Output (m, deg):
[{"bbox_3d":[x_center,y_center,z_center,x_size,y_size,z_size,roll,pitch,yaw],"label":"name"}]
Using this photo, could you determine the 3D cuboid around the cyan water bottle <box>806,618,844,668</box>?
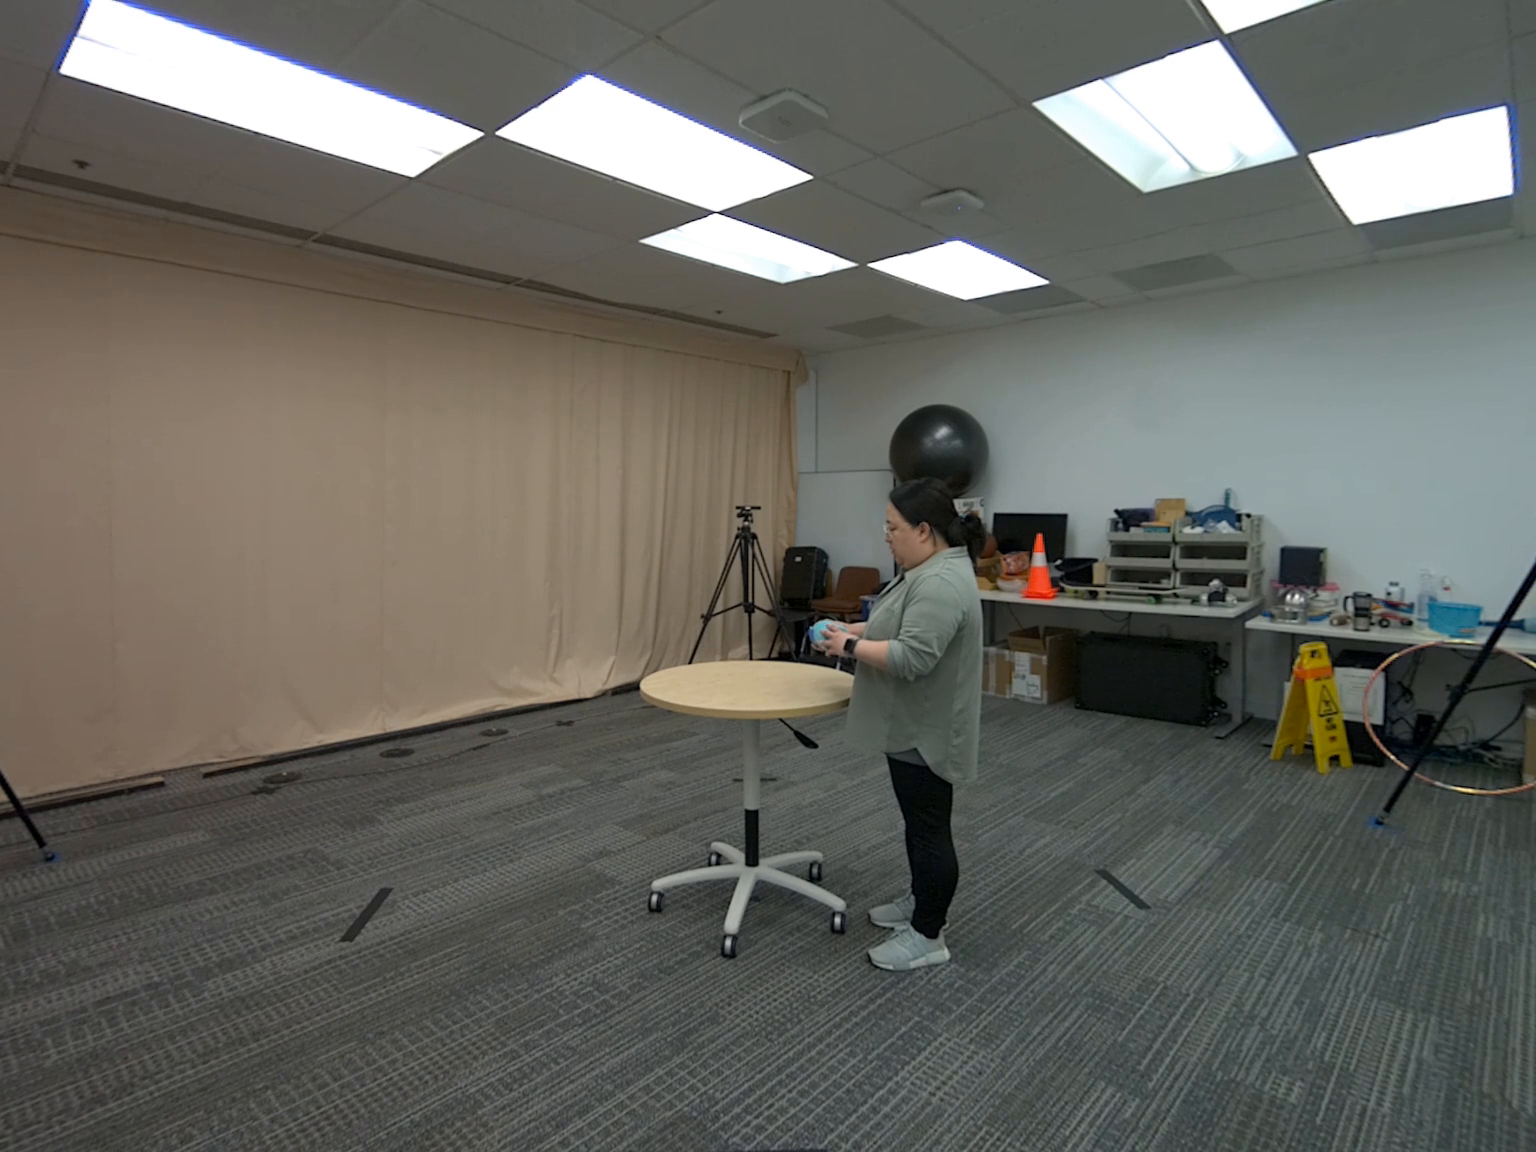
[{"bbox_3d":[0.208,0.197,2.692,0.091,0.092,0.286,-1,3,-10],"label":"cyan water bottle"}]
